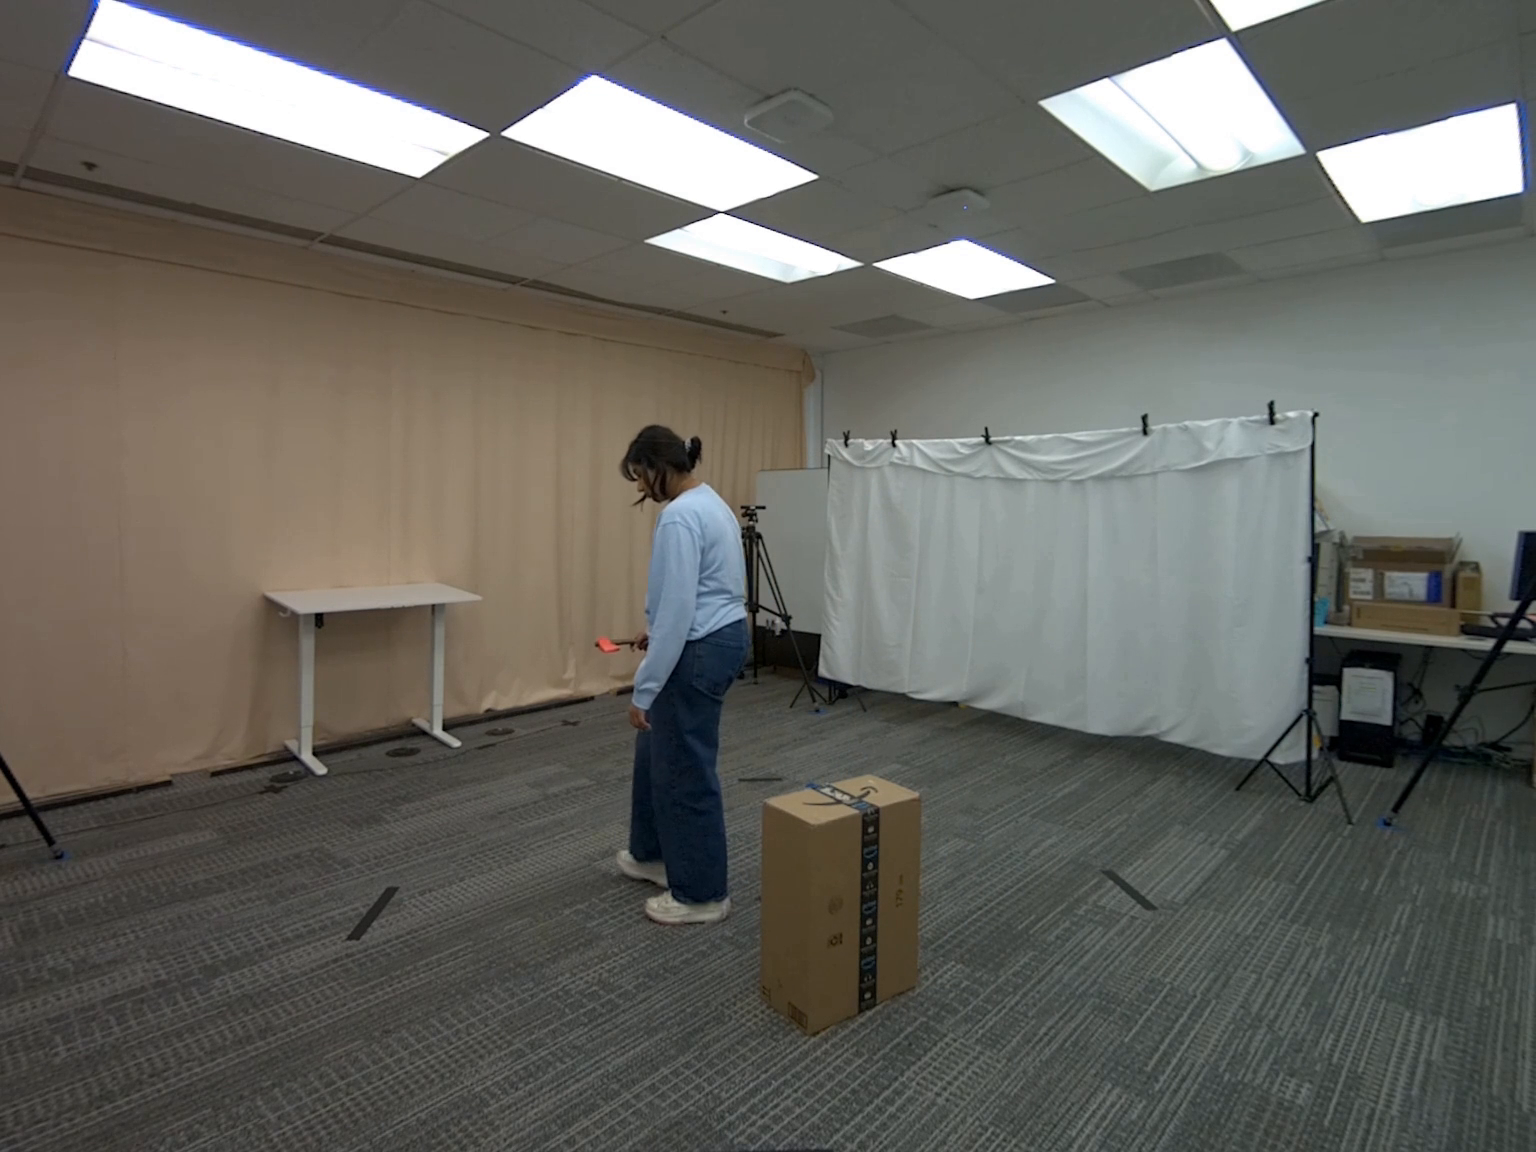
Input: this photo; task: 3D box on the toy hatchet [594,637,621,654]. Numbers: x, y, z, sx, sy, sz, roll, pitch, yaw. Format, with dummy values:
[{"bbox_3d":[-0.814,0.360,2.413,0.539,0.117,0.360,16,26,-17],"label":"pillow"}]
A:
[{"bbox_3d":[-0.492,0.263,3.040,0.270,0.029,0.132,3,16,1],"label":"toy hatchet"}]
